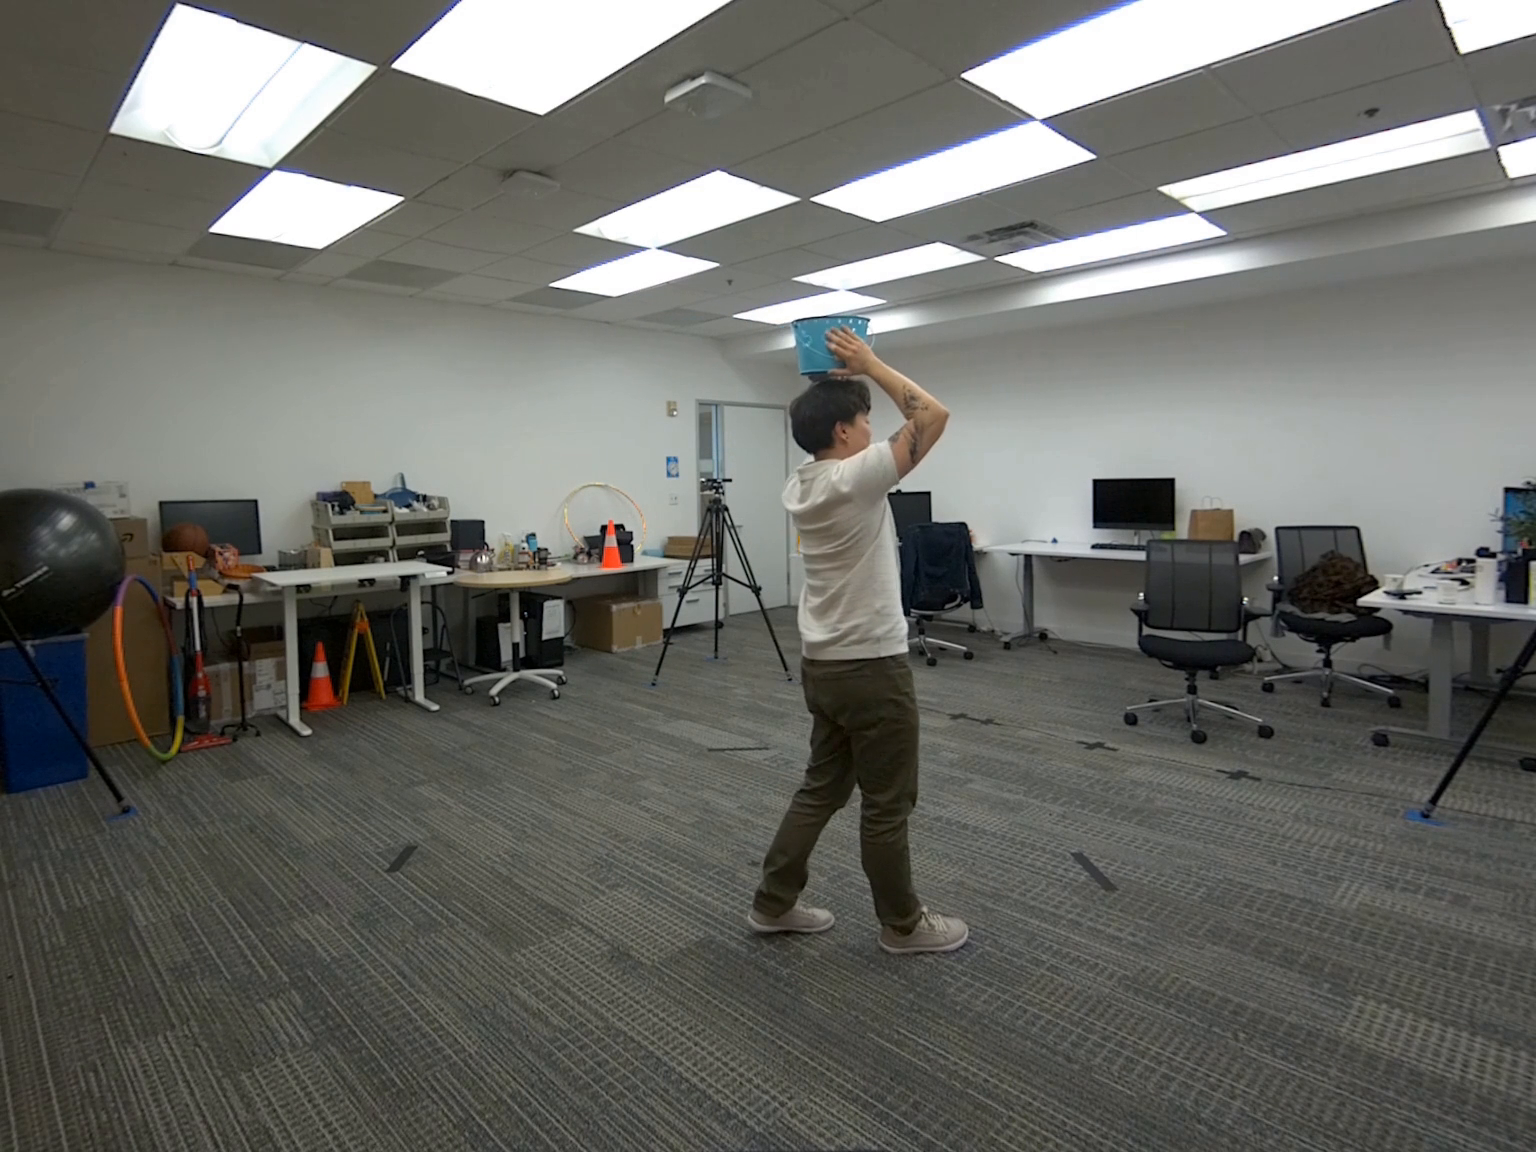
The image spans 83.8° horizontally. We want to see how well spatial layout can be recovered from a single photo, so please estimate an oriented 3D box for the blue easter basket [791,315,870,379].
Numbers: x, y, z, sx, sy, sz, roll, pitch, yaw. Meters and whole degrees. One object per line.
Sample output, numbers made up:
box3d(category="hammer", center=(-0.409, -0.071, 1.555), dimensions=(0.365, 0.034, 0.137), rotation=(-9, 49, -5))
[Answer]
box3d(category="blue easter basket", center=(0.195, -0.668, 2.479), dimensions=(0.243, 0.155, 0.245), rotation=(-3, 6, -1))
